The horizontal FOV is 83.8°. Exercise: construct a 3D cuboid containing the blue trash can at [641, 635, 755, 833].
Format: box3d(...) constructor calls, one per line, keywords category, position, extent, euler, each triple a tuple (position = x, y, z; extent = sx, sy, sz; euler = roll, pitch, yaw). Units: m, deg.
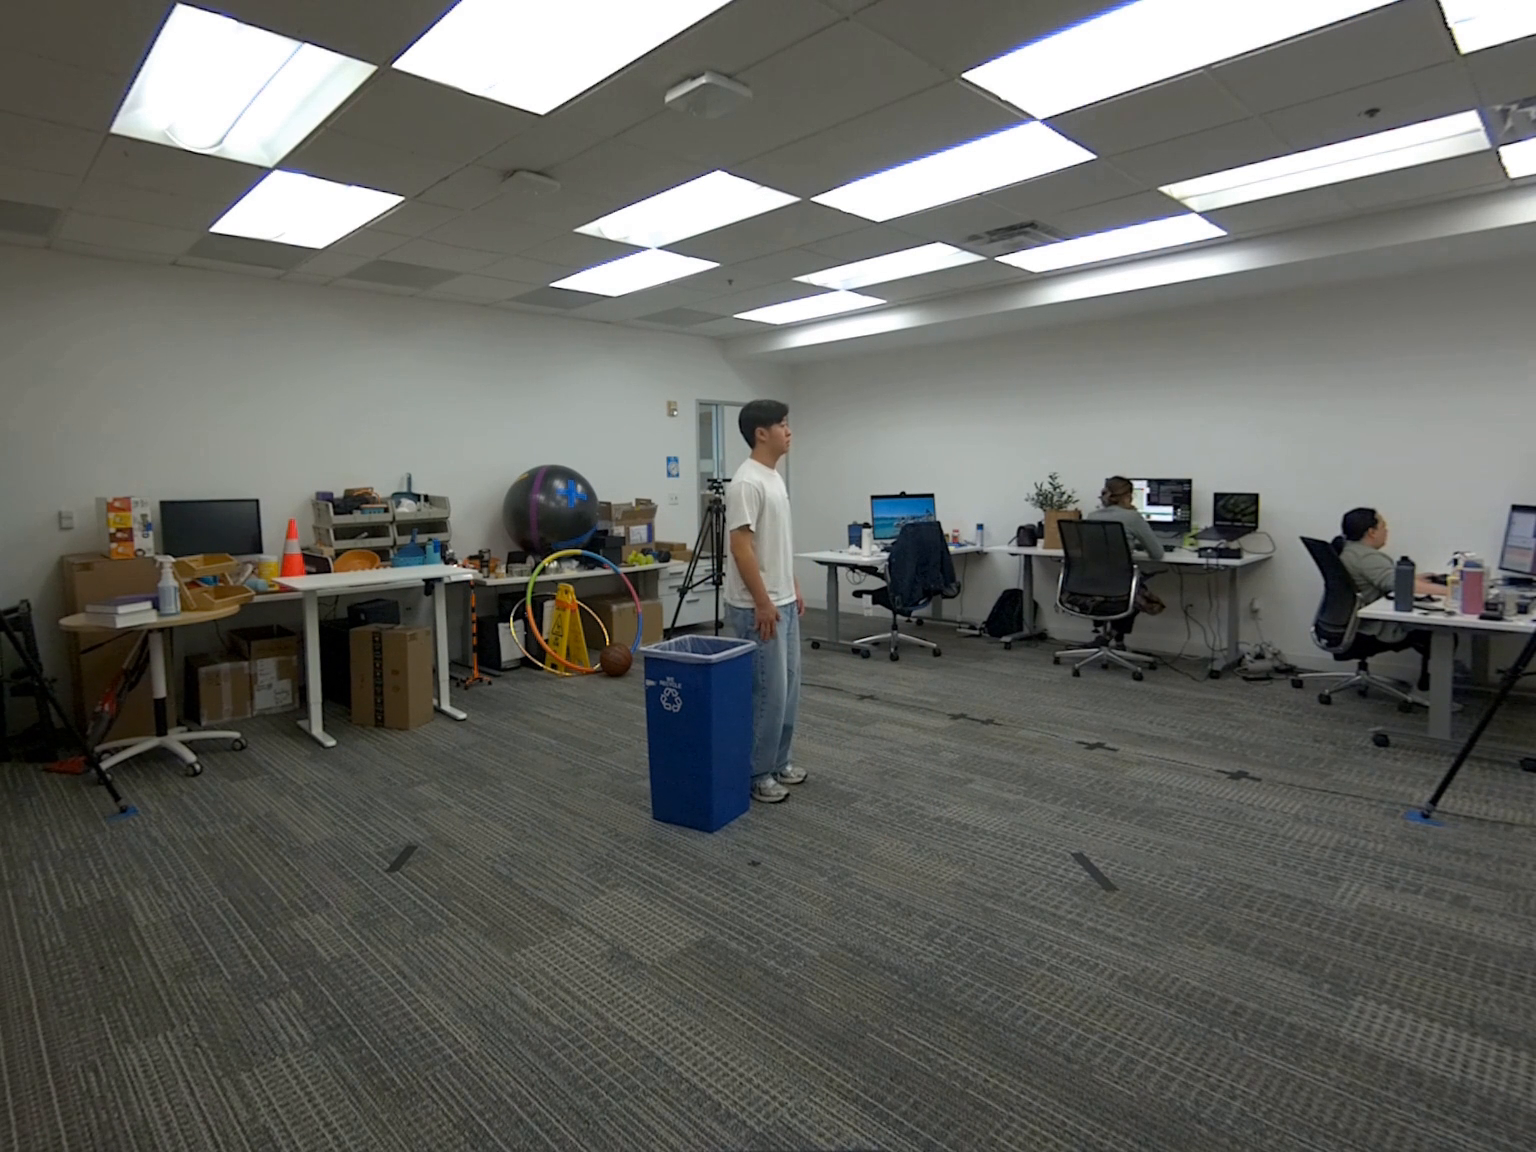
box3d(category="blue trash can", position=(-0.279, 0.639, 3.555), extent=(0.384, 0.711, 0.369), euler=(1, 4, 30))
